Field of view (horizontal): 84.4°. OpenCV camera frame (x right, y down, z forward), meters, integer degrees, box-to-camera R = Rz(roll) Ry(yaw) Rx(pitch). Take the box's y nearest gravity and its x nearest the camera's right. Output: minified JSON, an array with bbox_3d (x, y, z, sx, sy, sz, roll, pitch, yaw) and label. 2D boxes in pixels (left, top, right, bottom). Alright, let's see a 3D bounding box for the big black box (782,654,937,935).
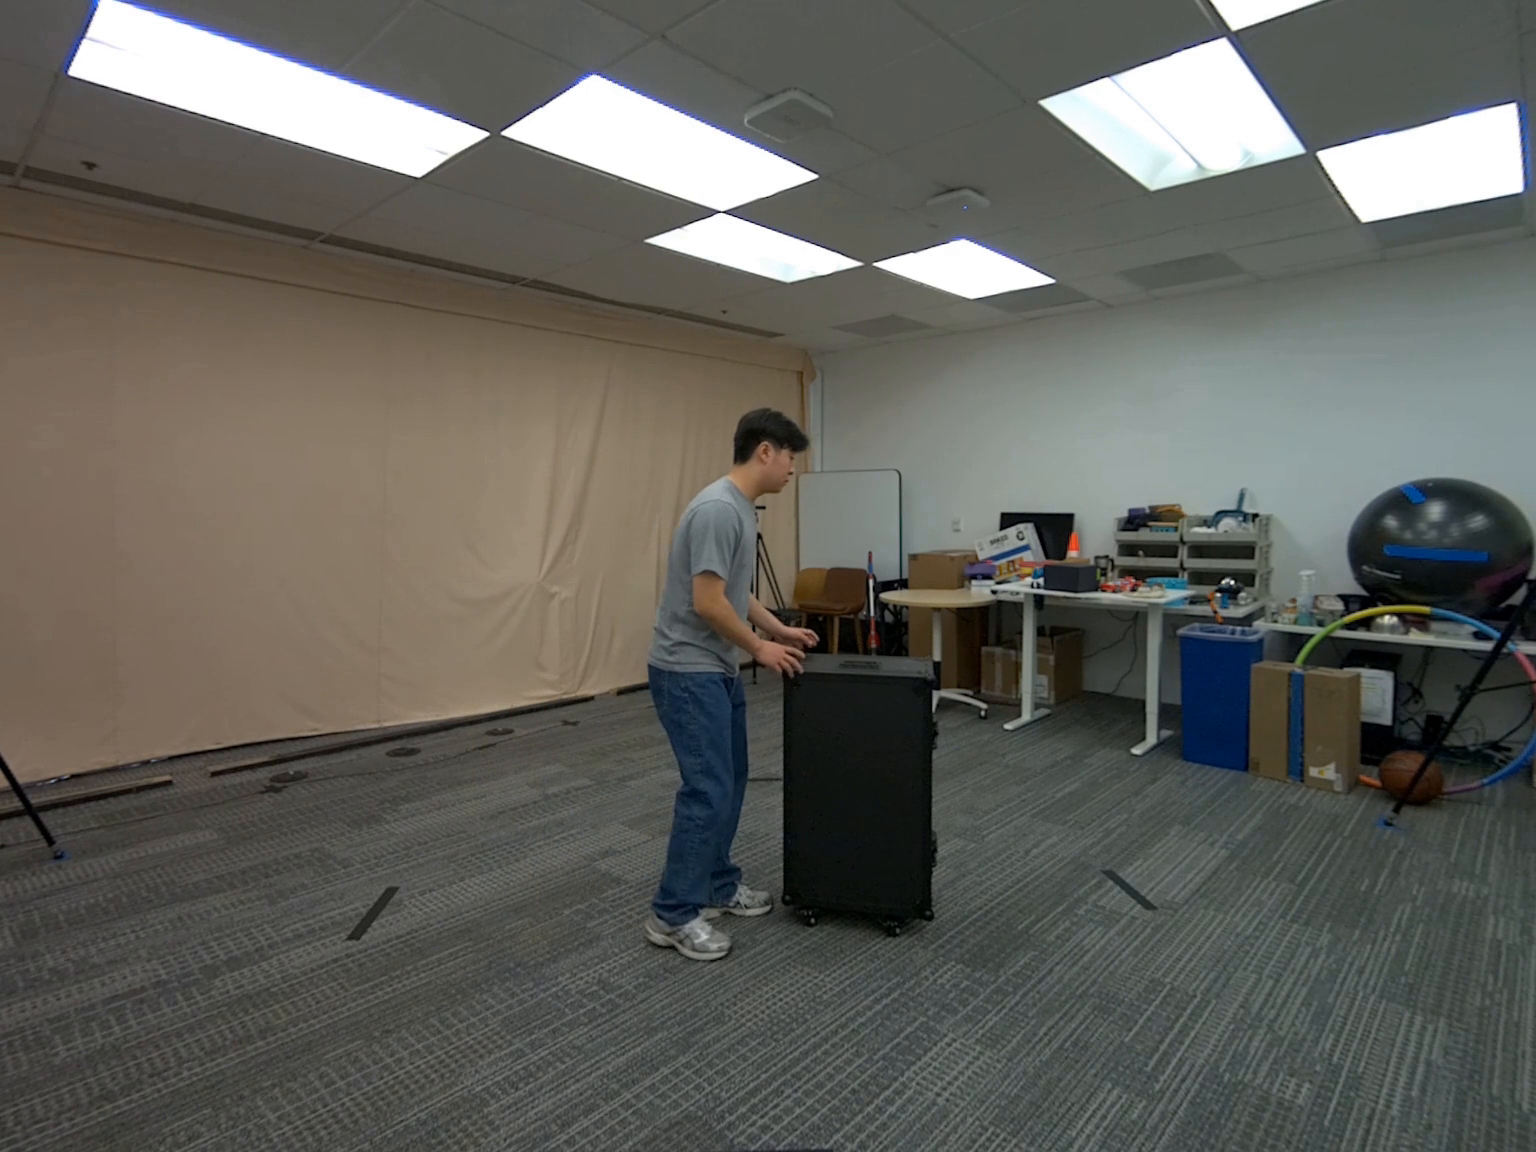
[{"bbox_3d":[0.318,0.727,2.902,0.529,0.860,0.391,1,2,13],"label":"big black box"}]
